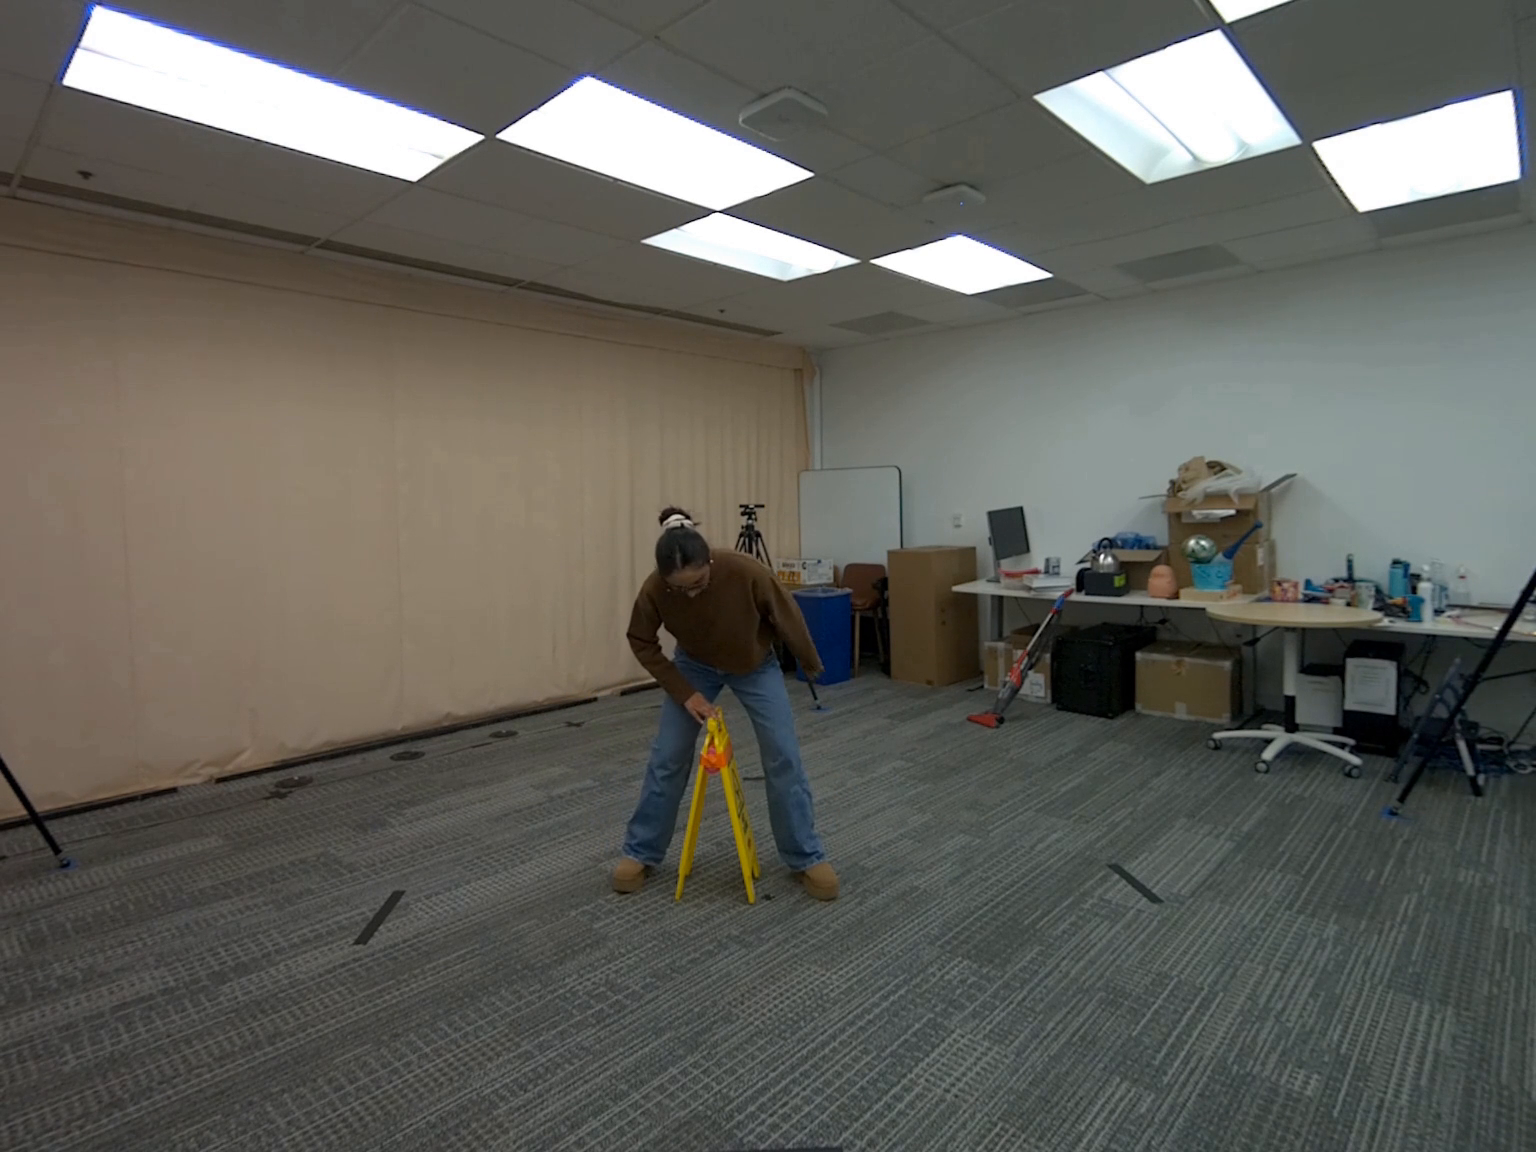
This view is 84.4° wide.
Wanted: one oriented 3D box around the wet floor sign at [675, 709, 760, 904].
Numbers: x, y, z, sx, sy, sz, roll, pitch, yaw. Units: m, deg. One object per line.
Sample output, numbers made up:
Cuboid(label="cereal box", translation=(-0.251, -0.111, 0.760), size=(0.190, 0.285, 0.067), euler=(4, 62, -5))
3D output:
Cuboid(label="wet floor sign", translation=(-0.189, 0.822, 3.056), size=(0.292, 0.645, 0.281), euler=(-1, 2, 5))
